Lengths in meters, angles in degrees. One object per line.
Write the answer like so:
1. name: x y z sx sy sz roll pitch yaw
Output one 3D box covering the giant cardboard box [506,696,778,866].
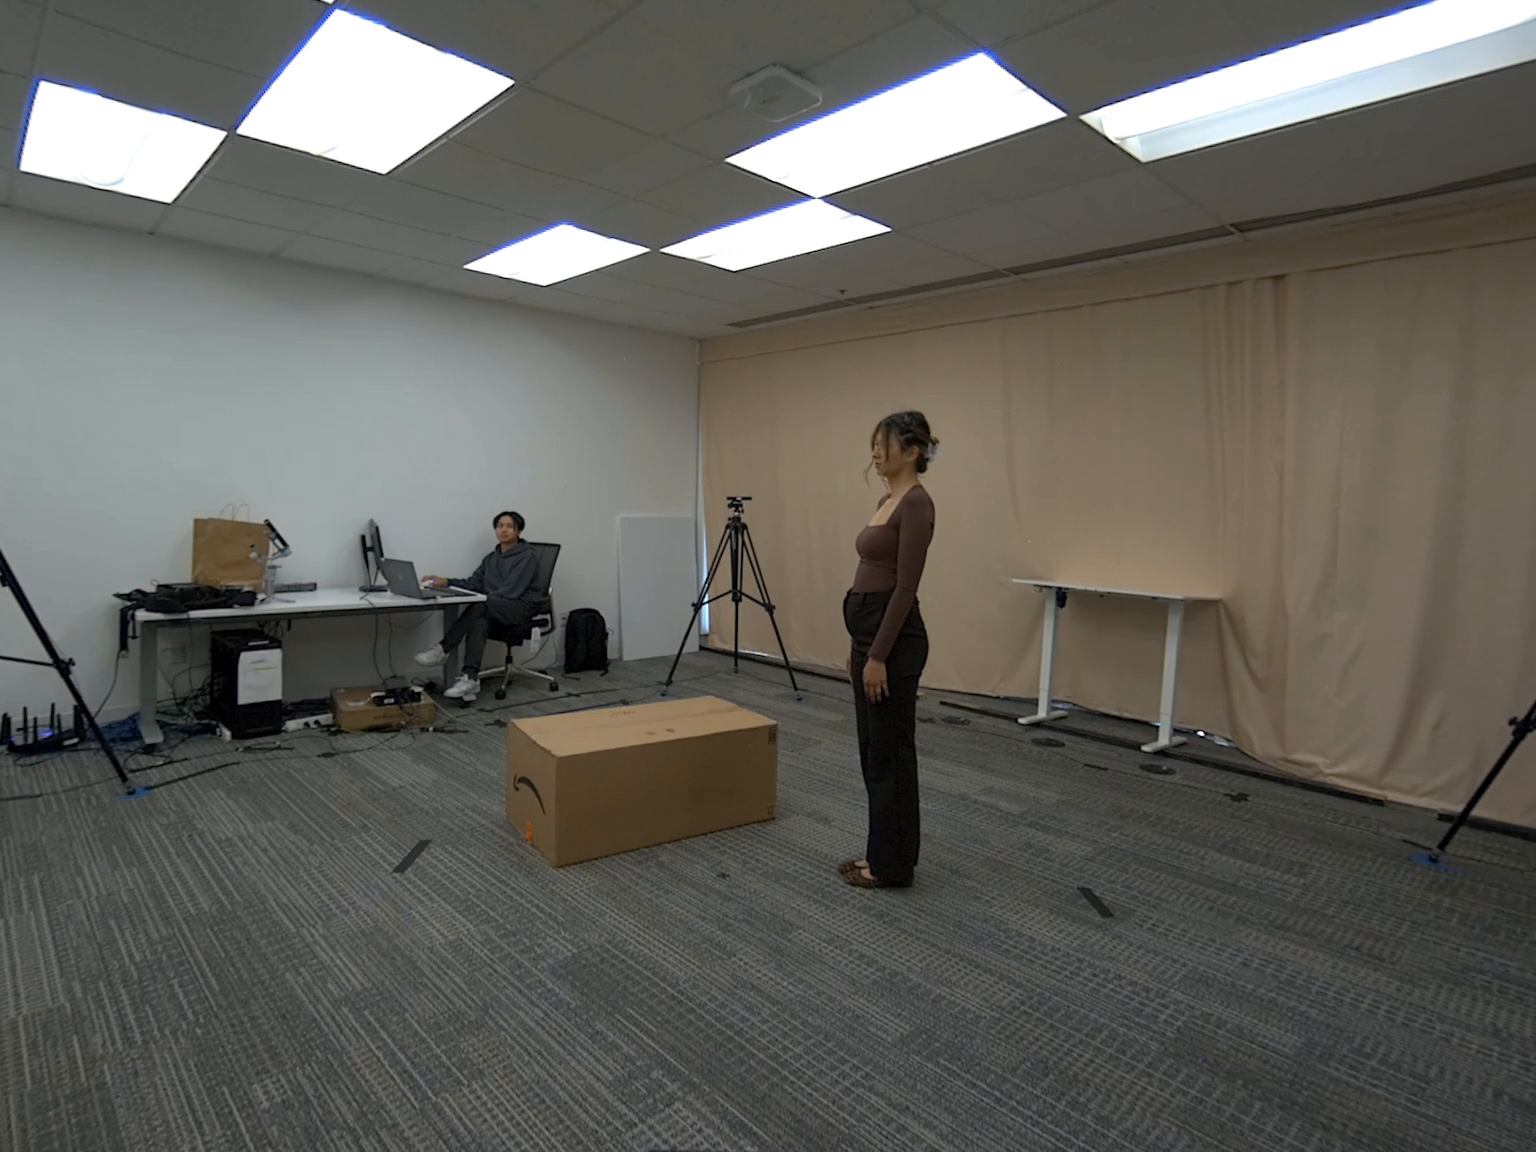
1. giant cardboard box: -0.542 0.839 3.636 1.005 0.446 0.598 -1 4 -34
